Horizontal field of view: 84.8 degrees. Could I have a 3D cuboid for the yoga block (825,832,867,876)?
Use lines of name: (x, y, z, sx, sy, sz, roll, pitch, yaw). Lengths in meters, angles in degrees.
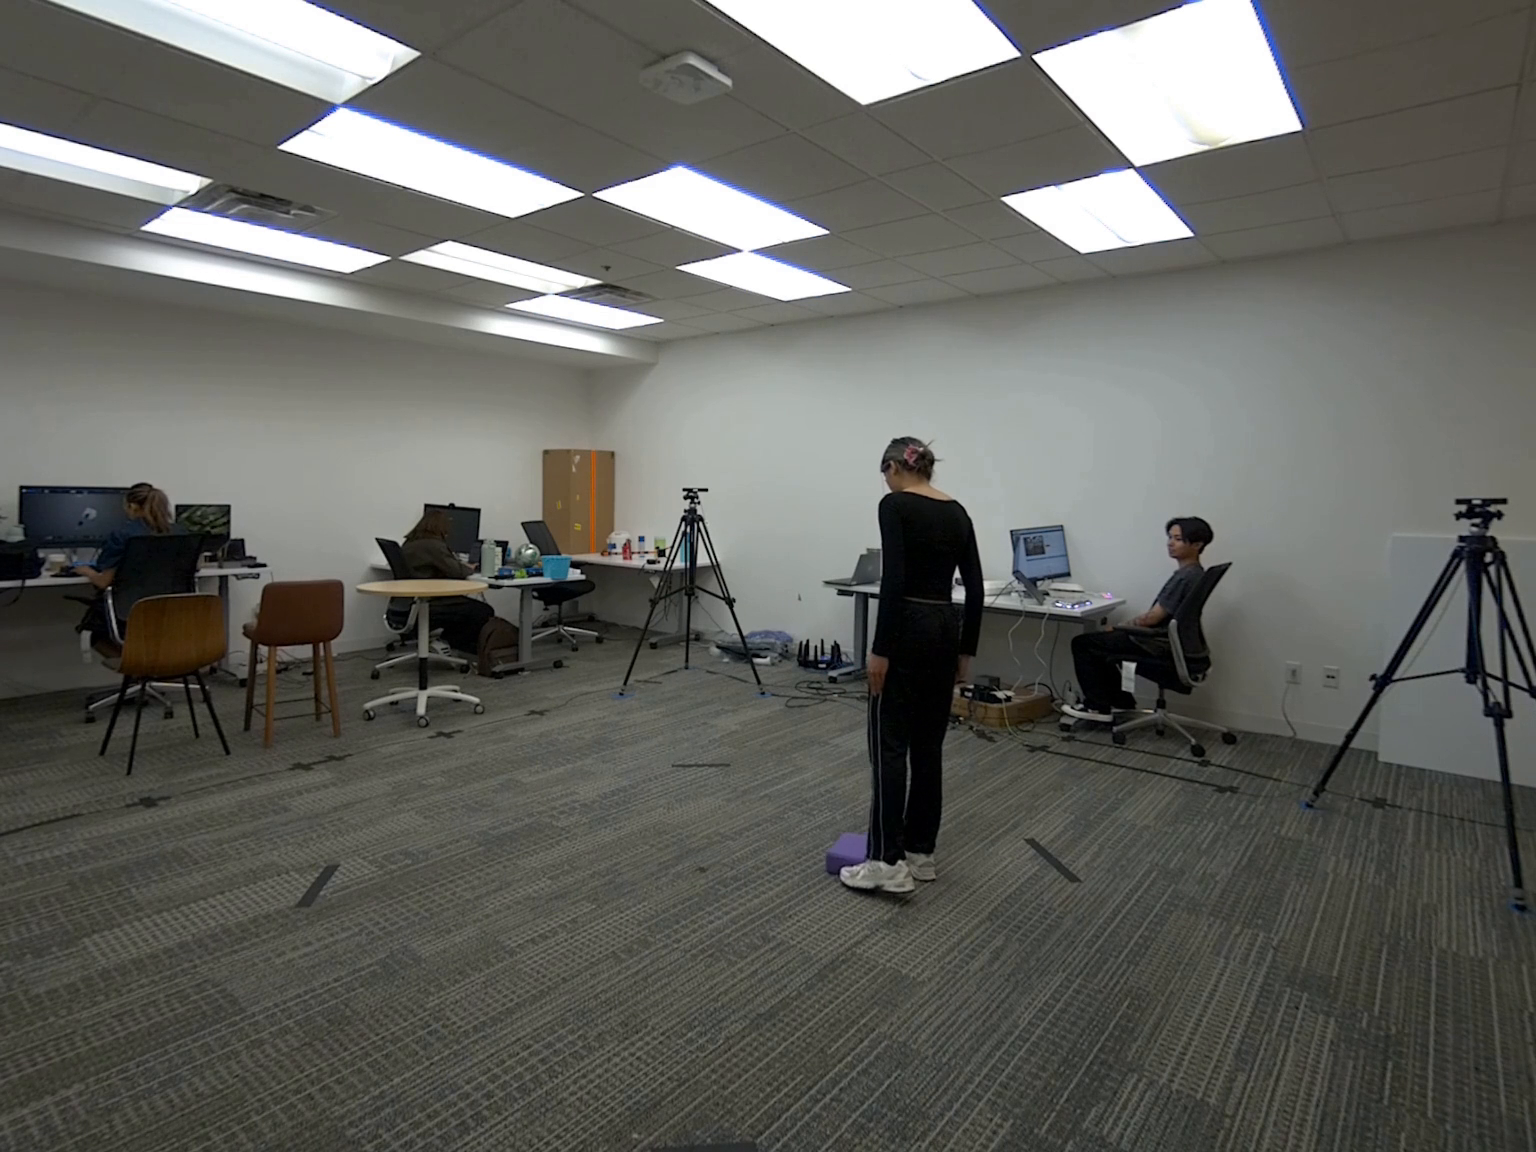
yoga block: (0.317, 1.034, 3.165, 0.152, 0.076, 0.225, 2, 5, 22)
